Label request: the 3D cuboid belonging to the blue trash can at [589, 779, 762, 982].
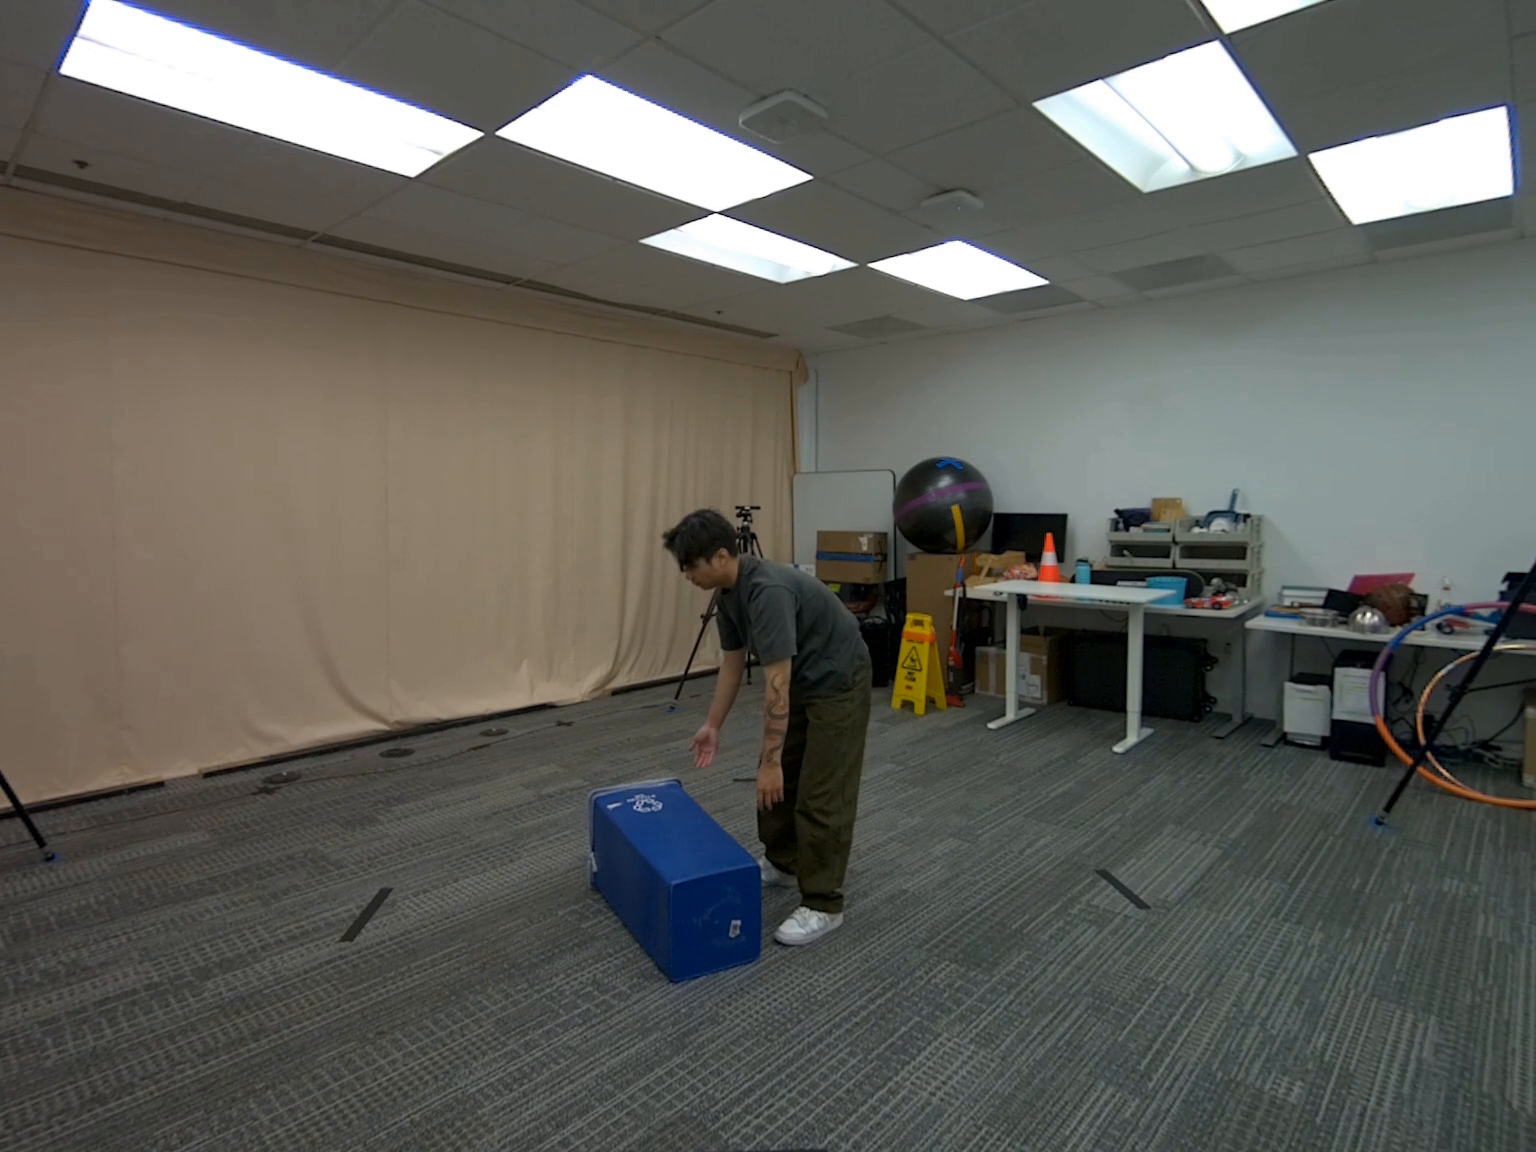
[{"bbox_3d":[-0.323,0.996,2.815,0.368,0.373,0.734,-2,7,-28],"label":"blue trash can"}]
